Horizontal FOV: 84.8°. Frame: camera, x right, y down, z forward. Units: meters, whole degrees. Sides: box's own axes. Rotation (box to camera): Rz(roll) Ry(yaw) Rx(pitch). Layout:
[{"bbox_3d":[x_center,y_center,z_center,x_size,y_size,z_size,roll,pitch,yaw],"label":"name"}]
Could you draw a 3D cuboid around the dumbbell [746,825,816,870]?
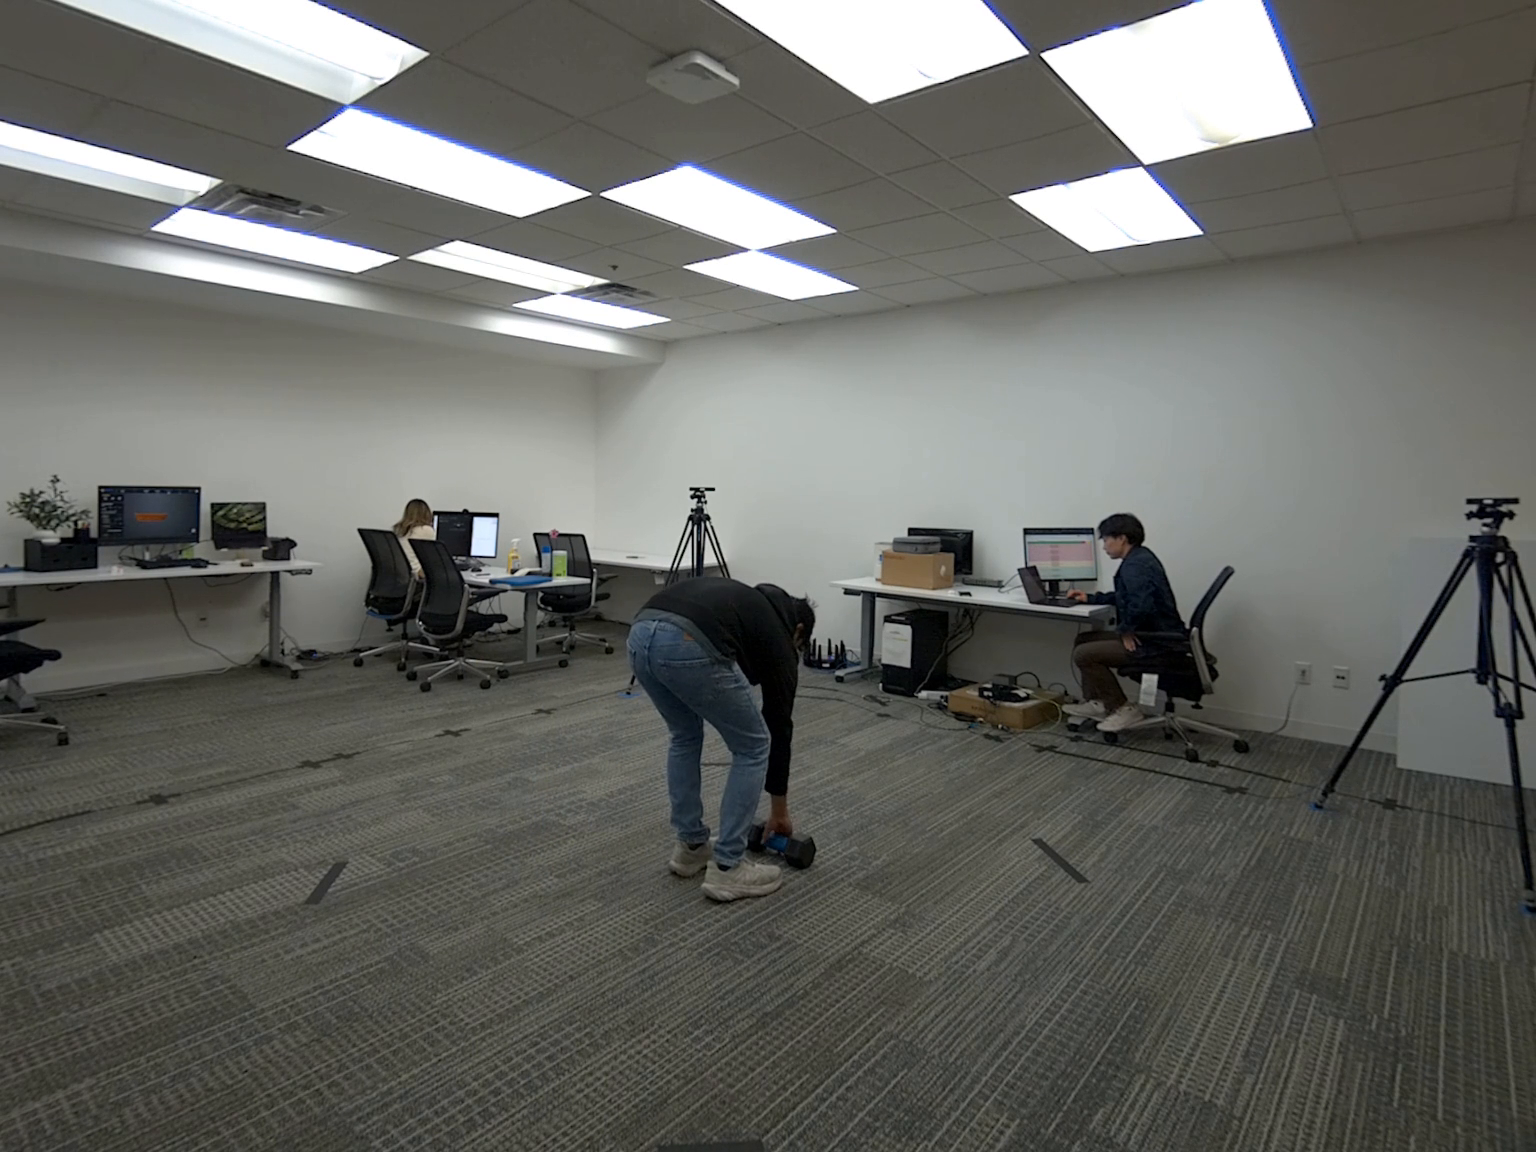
[{"bbox_3d":[0.026,1.005,3.220,0.303,0.120,0.108,5,33,40],"label":"dumbbell"}]
